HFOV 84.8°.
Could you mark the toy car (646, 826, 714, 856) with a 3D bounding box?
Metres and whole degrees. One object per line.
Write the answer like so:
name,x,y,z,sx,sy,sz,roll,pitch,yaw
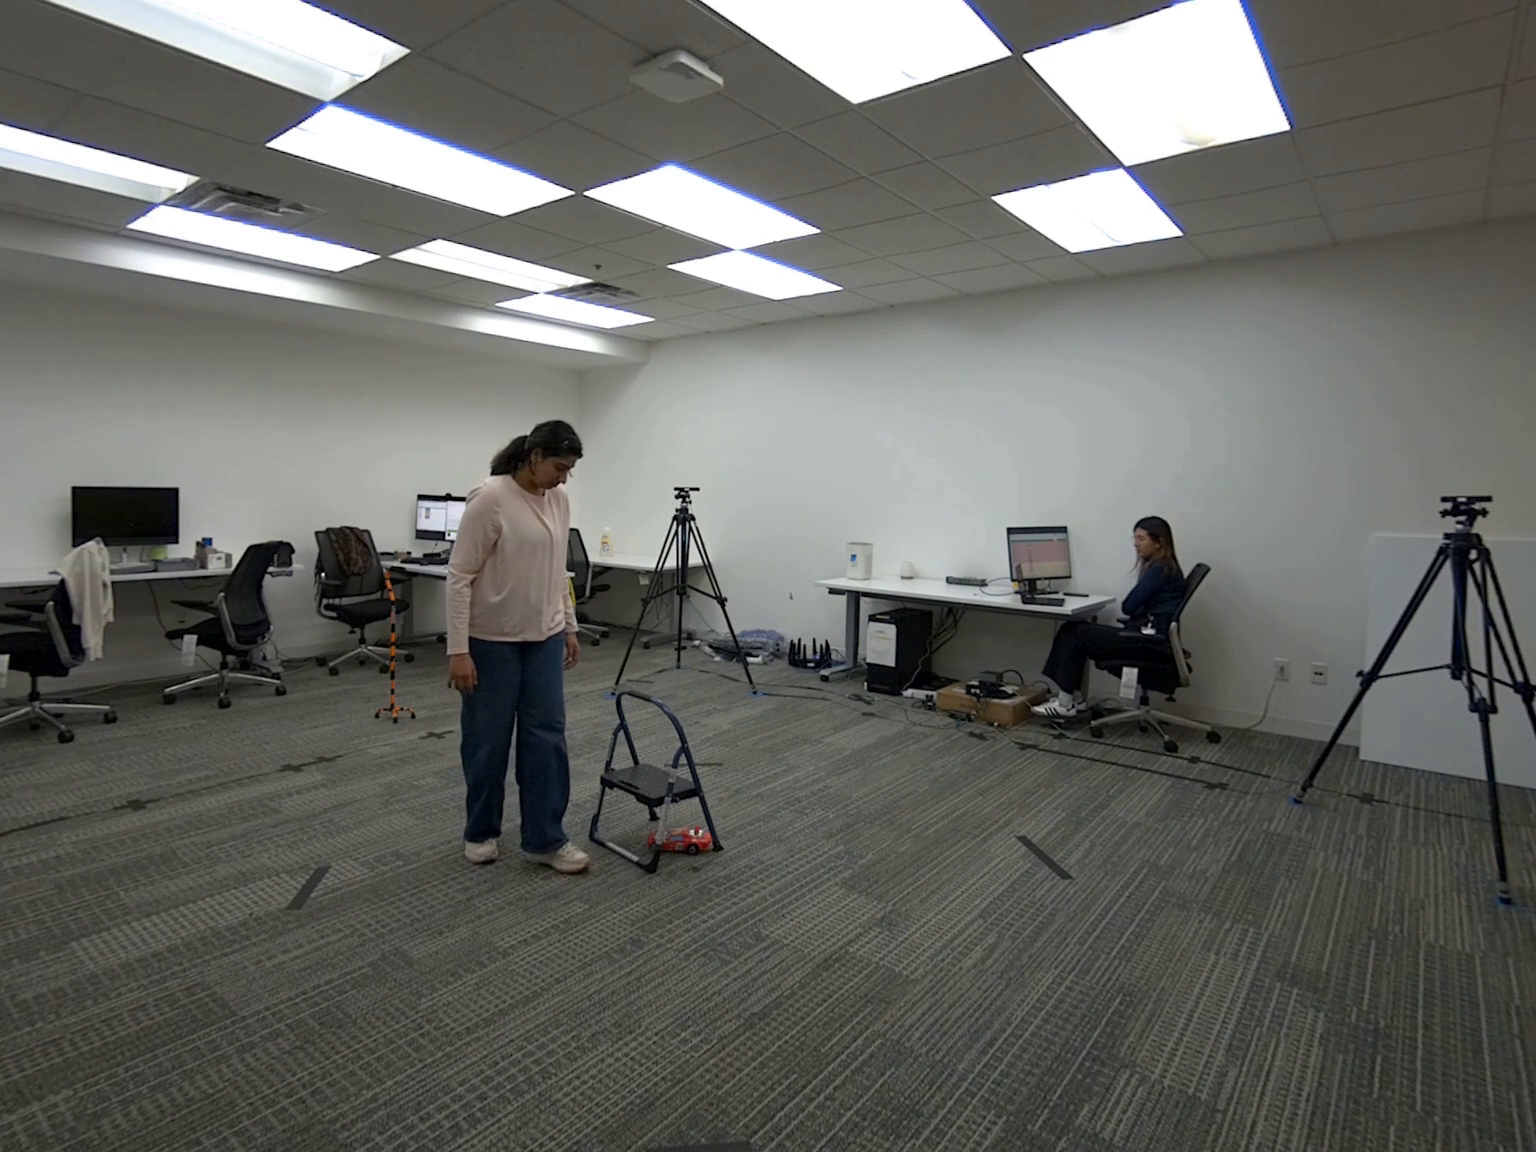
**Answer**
toy car,-0.347,1.022,3.269,0.255,0.083,0.130,-10,5,3
